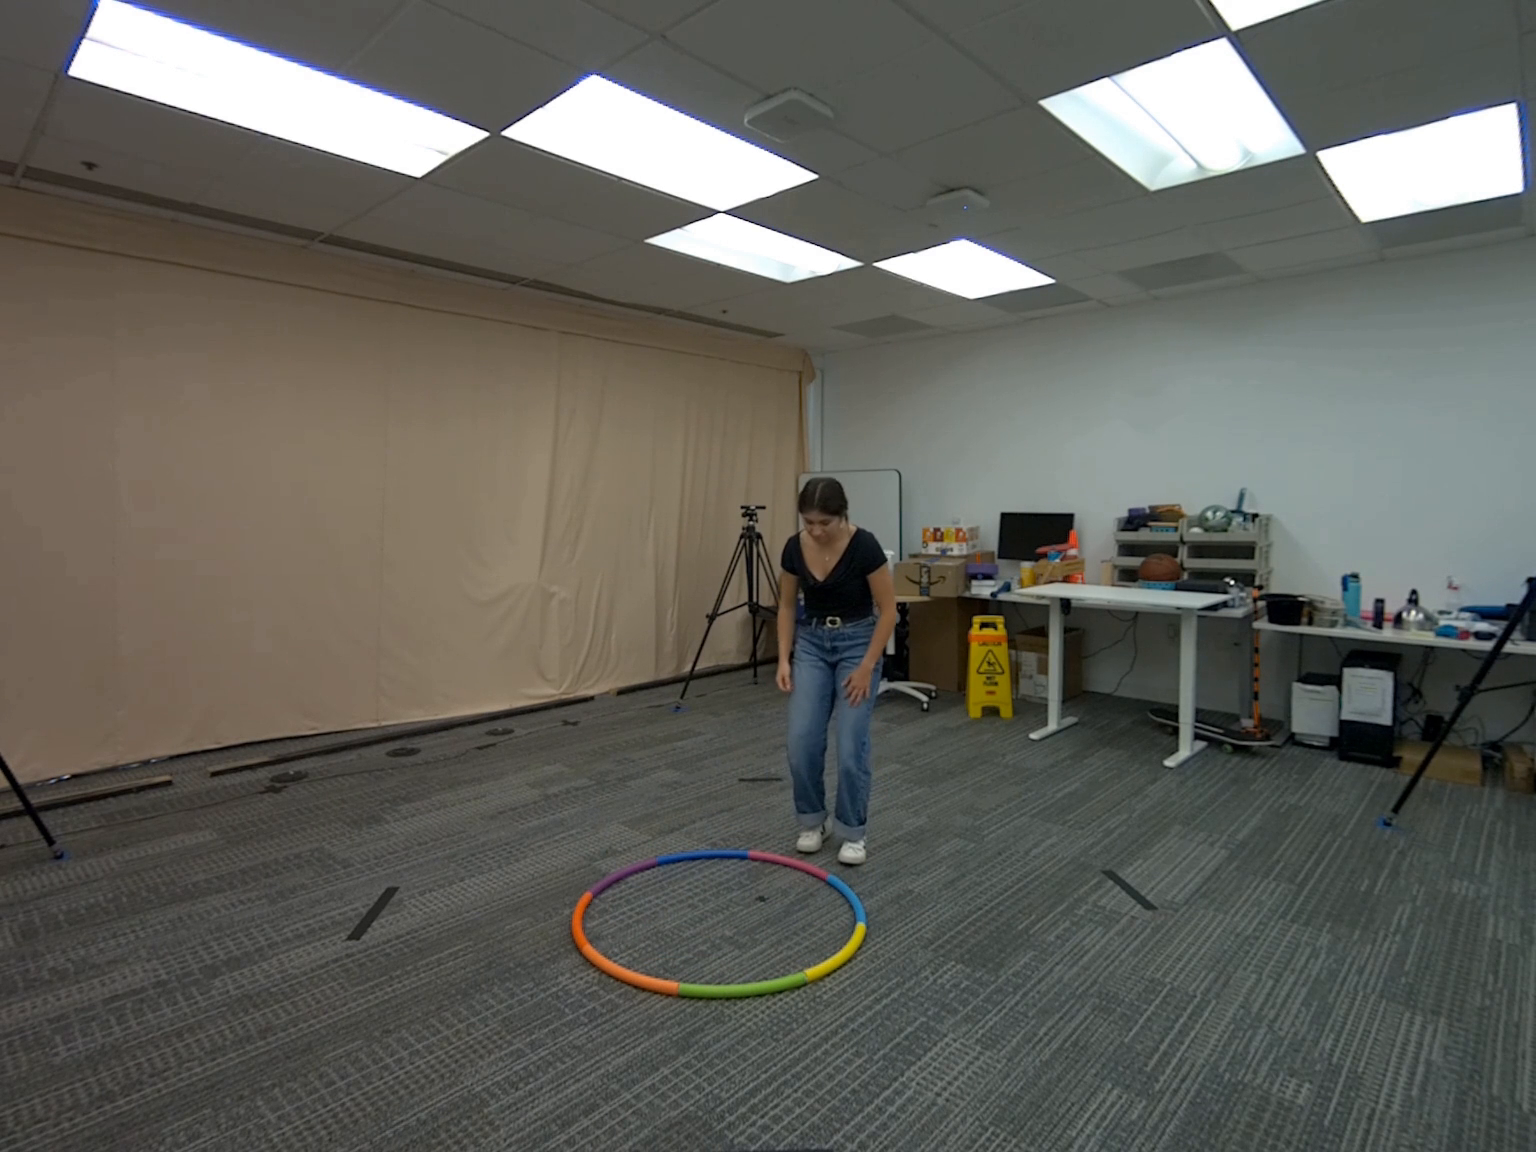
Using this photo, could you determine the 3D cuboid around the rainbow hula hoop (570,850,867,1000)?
[{"bbox_3d":[-0.160,1.127,2.861,0.978,0.035,0.982,-1,5,-2],"label":"rainbow hula hoop"}]
